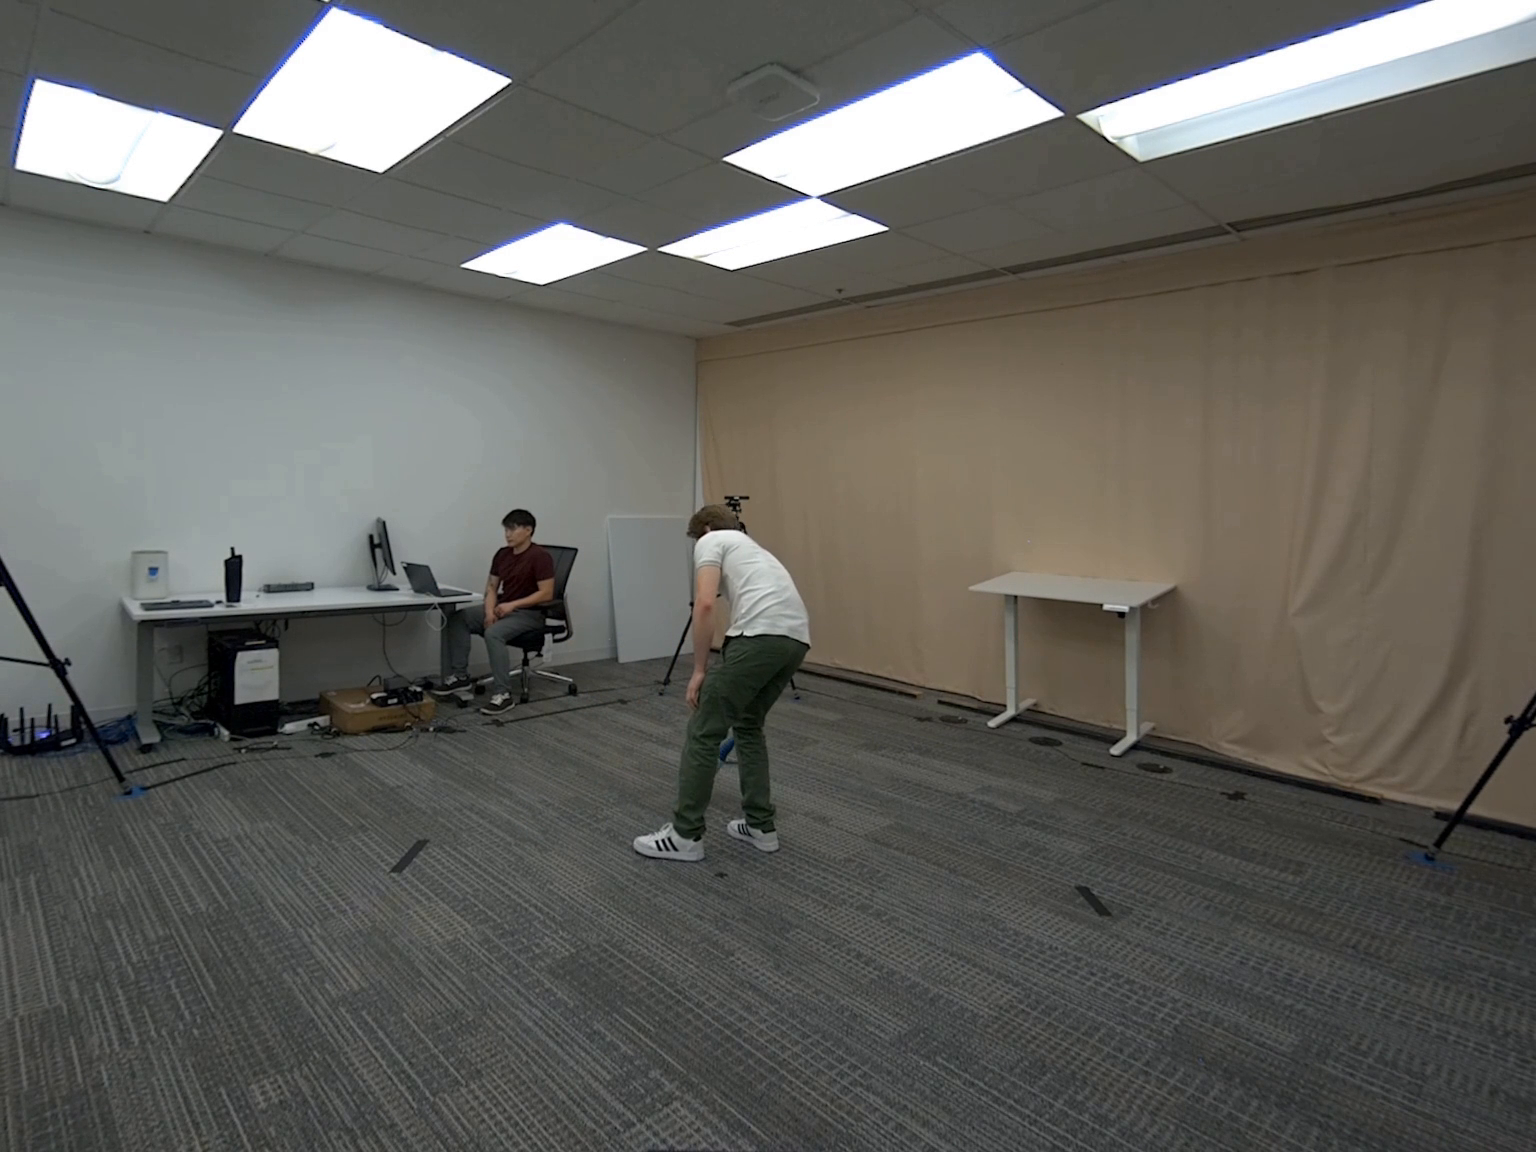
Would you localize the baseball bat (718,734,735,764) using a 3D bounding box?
[{"bbox_3d":[-0.217,0.813,3.837,0.089,0.543,0.089,39,1,-3],"label":"baseball bat"}]
